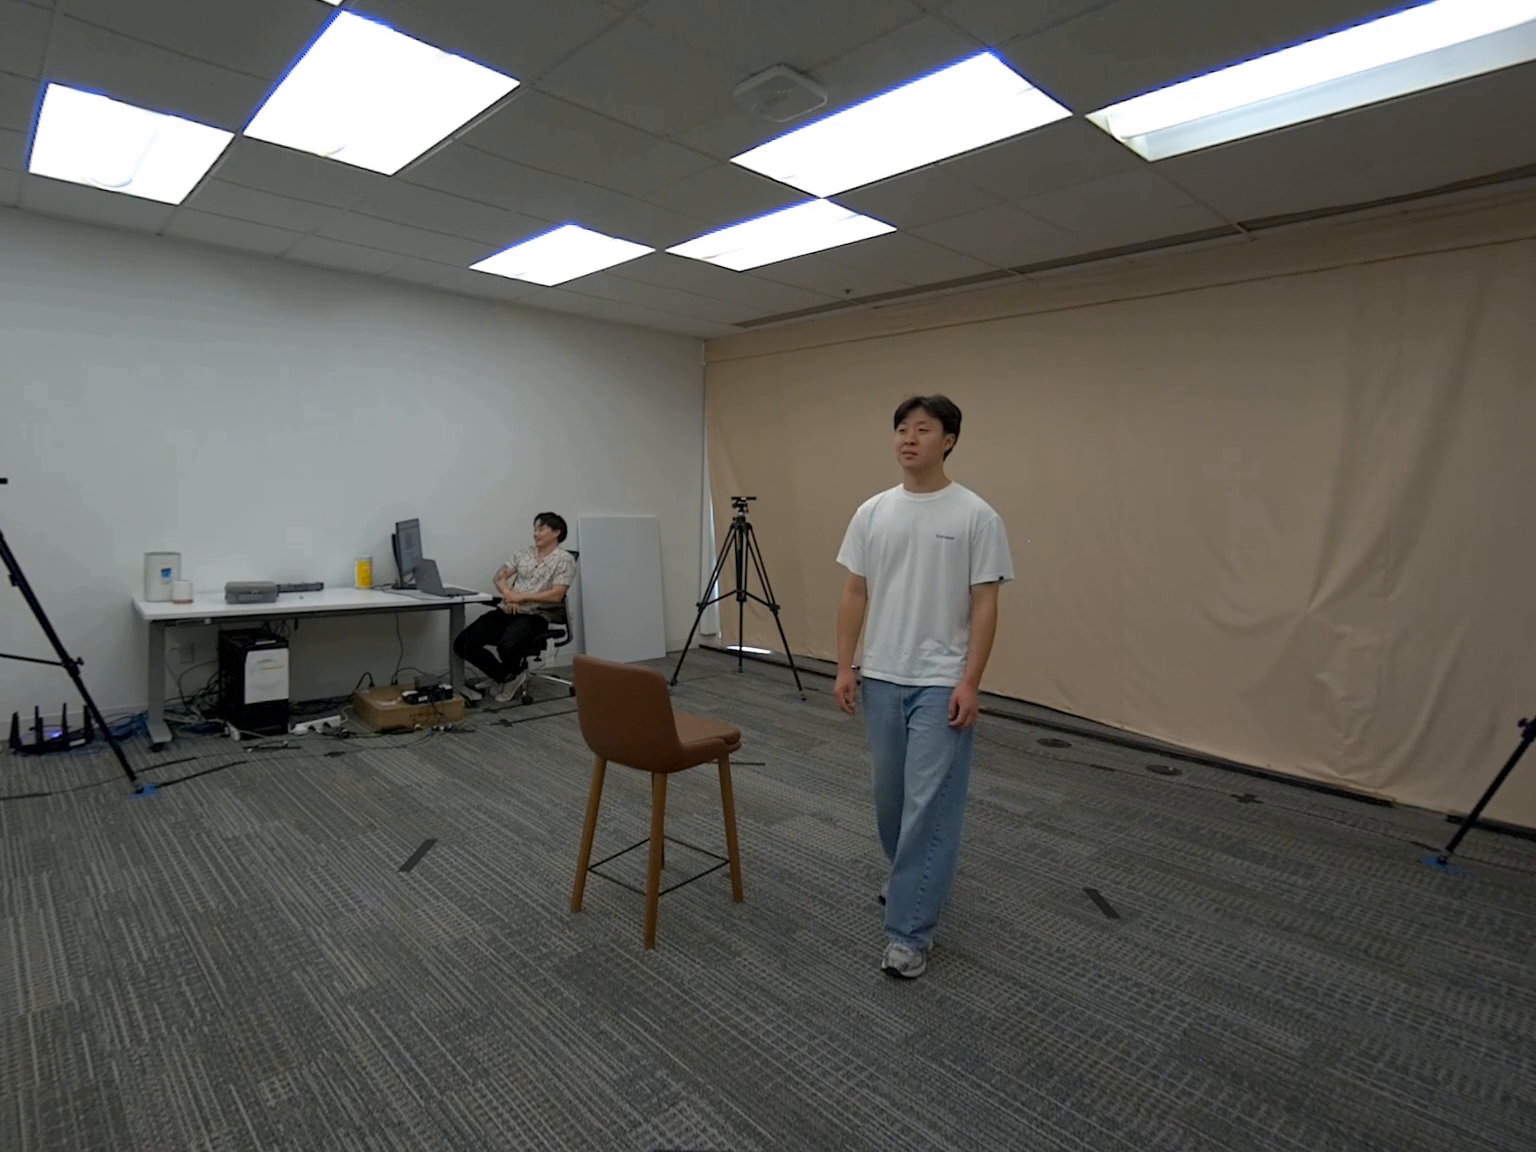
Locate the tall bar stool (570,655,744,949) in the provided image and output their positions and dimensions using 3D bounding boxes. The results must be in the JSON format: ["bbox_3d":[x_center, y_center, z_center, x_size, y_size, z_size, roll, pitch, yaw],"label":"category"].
[{"bbox_3d":[-0.377,0.687,2.848,0.468,0.887,0.458,4,6,39],"label":"tall bar stool"}]
